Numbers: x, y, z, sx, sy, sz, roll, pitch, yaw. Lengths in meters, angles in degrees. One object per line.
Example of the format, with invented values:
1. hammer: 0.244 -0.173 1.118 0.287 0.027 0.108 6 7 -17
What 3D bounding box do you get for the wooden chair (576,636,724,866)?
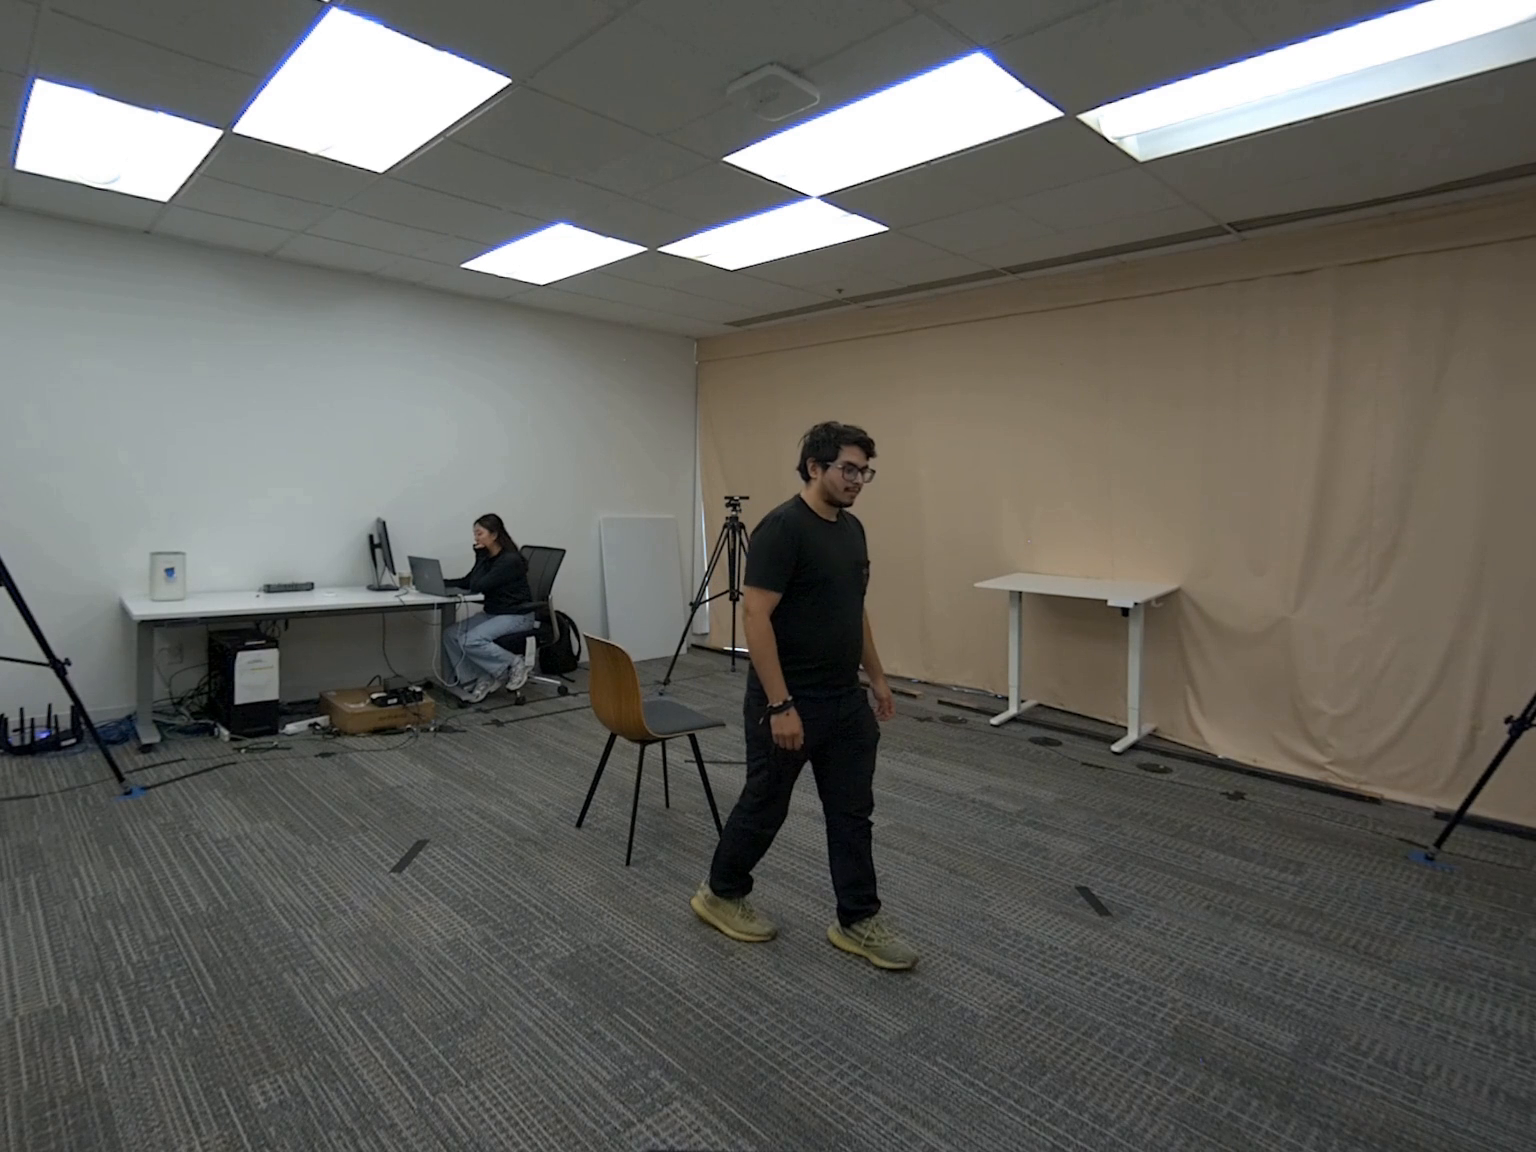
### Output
1. wooden chair: -0.478 0.638 3.445 0.512 0.873 0.490 -6 7 -37
